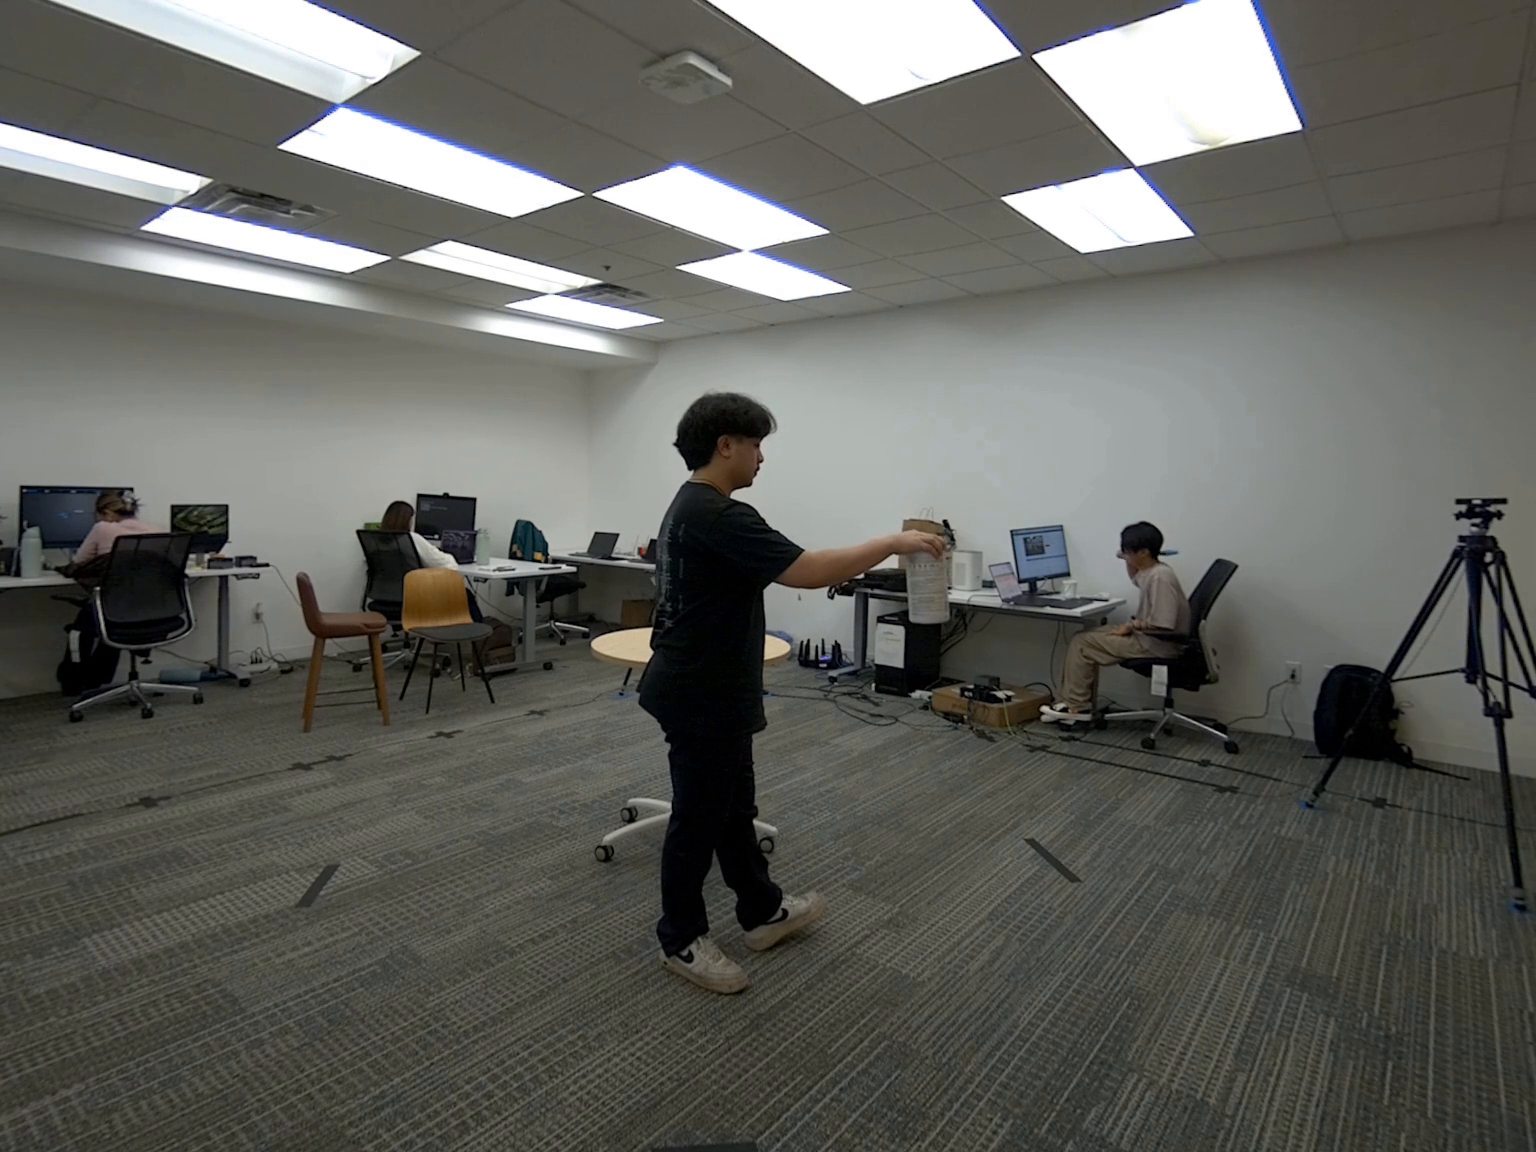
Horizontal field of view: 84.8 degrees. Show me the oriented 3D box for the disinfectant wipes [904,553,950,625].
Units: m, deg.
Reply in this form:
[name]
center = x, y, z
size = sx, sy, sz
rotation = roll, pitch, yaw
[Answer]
[disinfectant wipes]
center = 0.434, 0.017, 2.337
size = 0.118, 0.216, 0.118
rotation = -4, 4, -2
